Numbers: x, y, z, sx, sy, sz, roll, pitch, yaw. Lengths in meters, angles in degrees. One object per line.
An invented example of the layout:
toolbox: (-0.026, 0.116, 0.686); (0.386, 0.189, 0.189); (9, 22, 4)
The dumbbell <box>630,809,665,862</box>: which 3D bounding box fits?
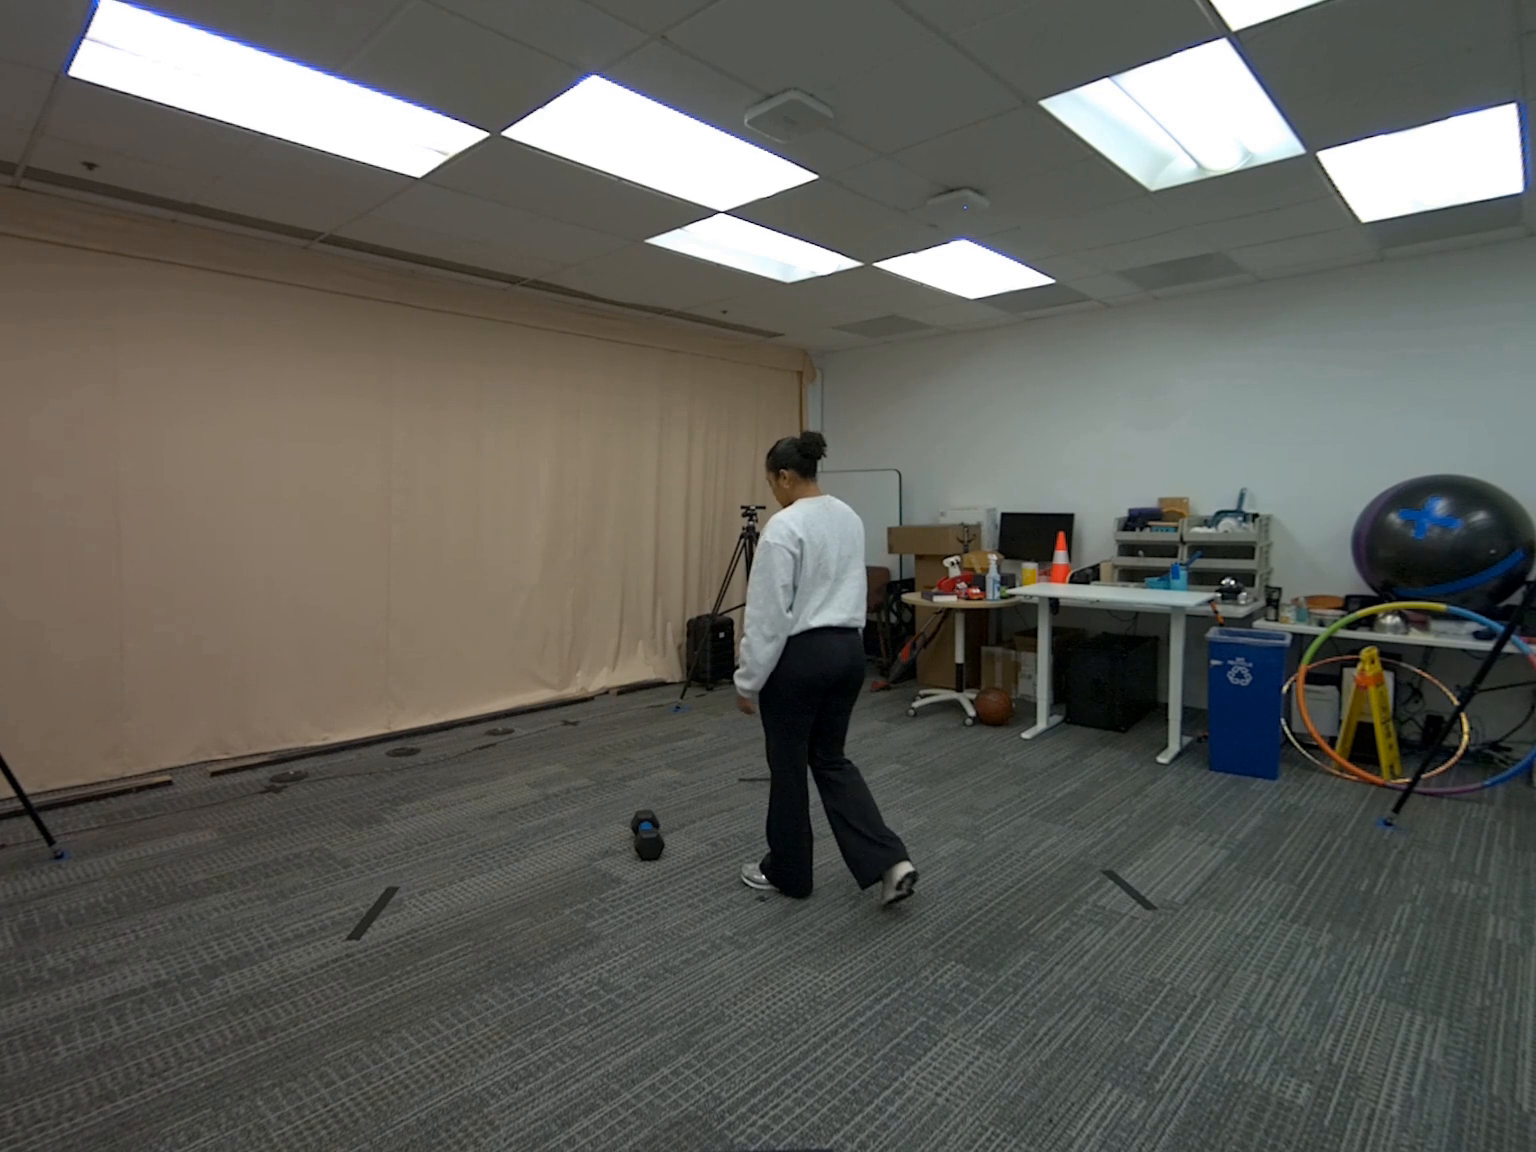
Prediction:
dumbbell: (-0.492, 1.057, 3.440); (0.108, 0.122, 0.297); (-31, 10, -8)
